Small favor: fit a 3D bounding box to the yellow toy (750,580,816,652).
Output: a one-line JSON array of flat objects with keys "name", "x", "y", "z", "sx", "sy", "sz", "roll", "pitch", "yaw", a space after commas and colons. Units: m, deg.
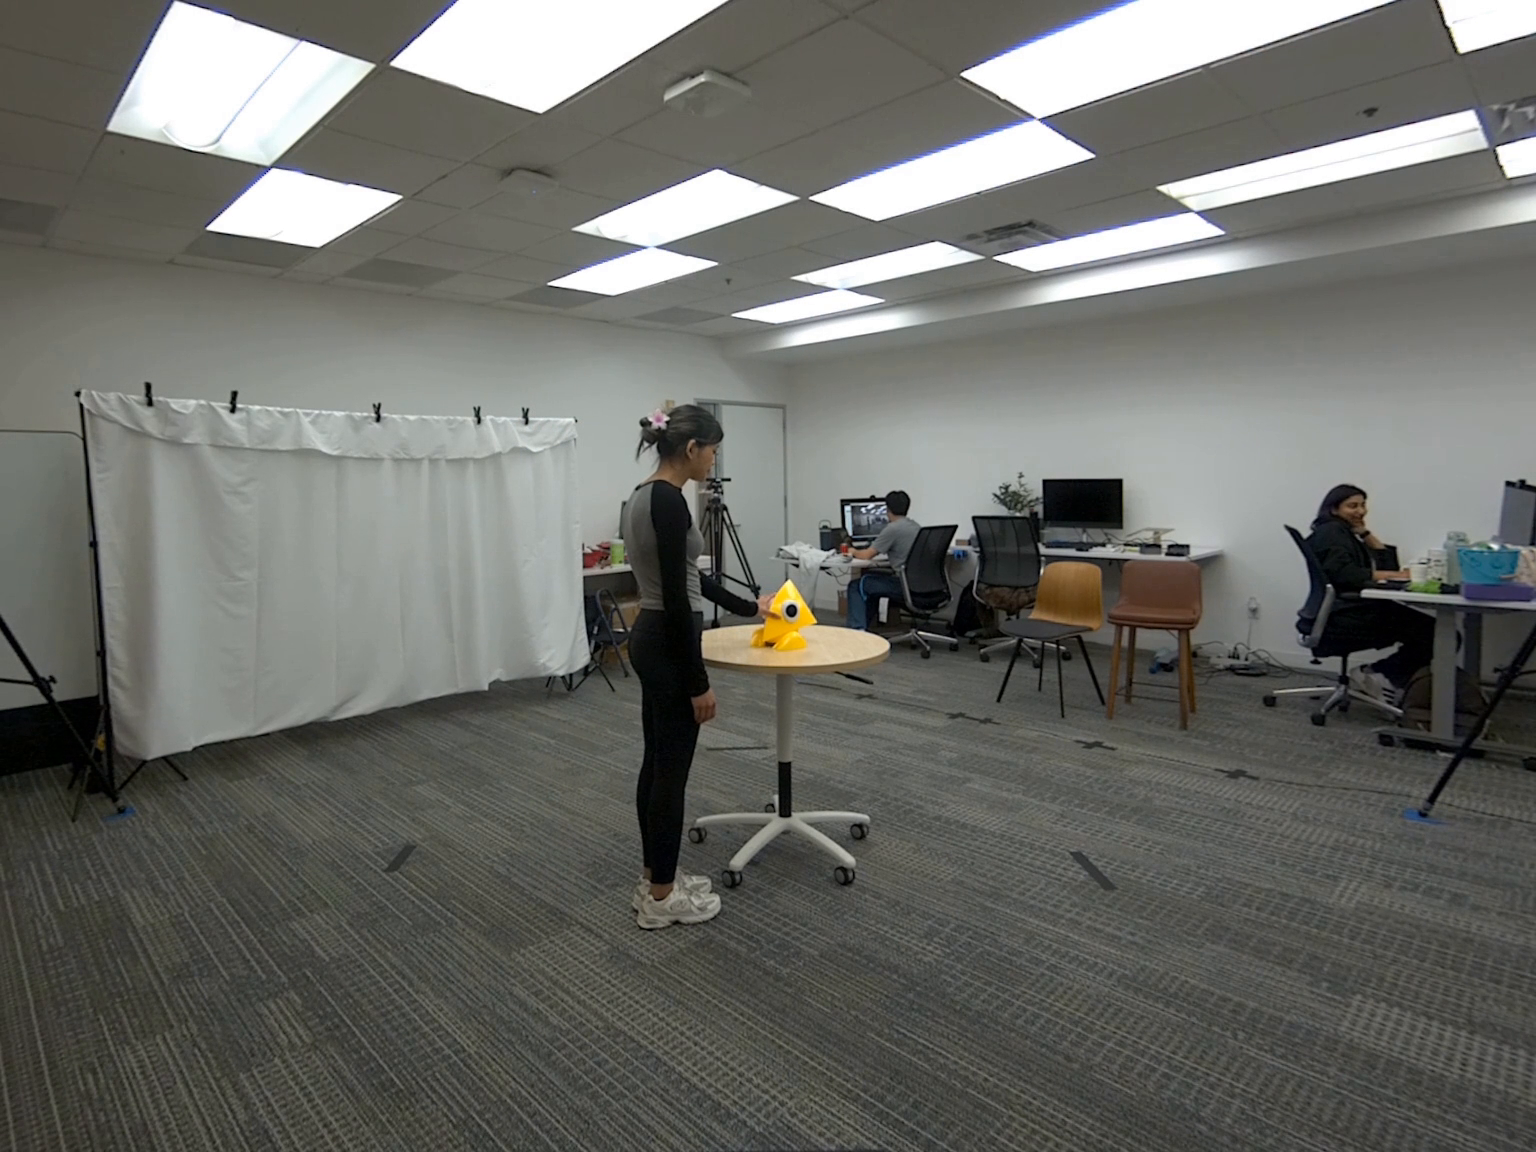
[{"name": "yellow toy", "x": 0.047, "y": 0.136, "z": 3.097, "sx": 0.211, "sy": 0.229, "sz": 0.188, "roll": 5, "pitch": 7, "yaw": 41}]
